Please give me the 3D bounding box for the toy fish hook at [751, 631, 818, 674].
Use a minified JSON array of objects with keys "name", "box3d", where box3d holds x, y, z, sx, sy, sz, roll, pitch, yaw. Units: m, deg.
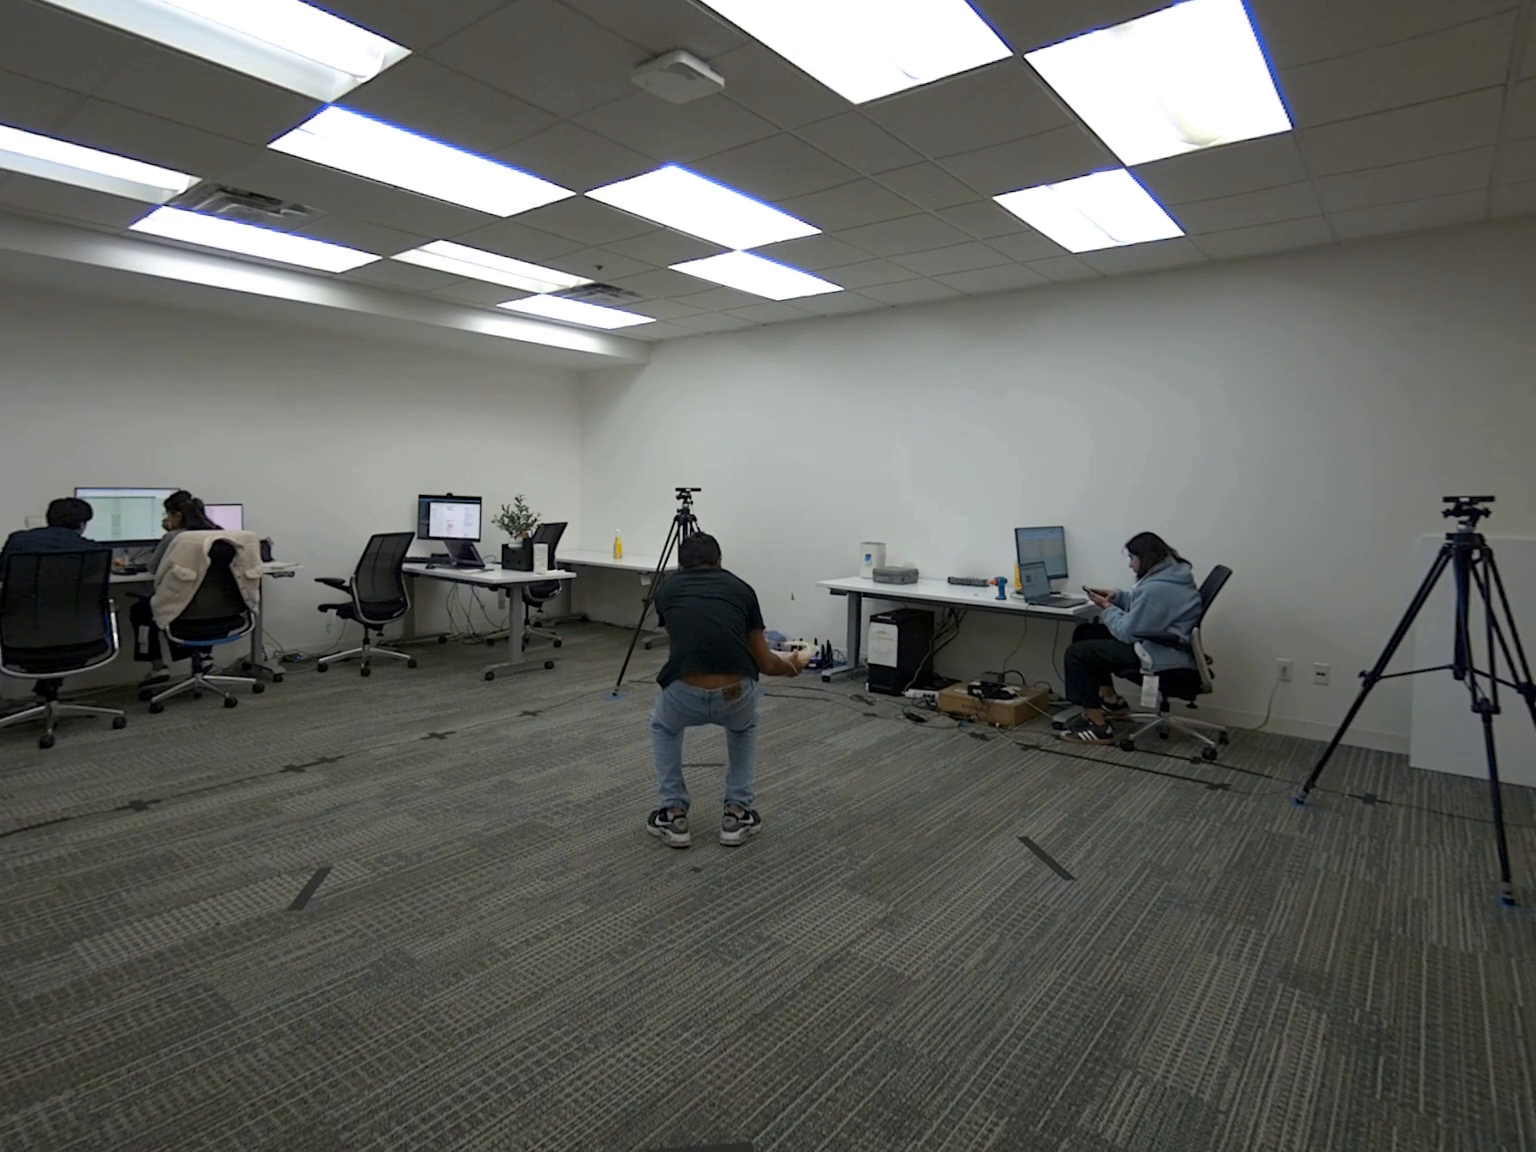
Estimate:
[{"name":"toy fish hook","box3d":[-0.033,0.337,3.943,0.520,0.048,0.221,3,14,26]}]
